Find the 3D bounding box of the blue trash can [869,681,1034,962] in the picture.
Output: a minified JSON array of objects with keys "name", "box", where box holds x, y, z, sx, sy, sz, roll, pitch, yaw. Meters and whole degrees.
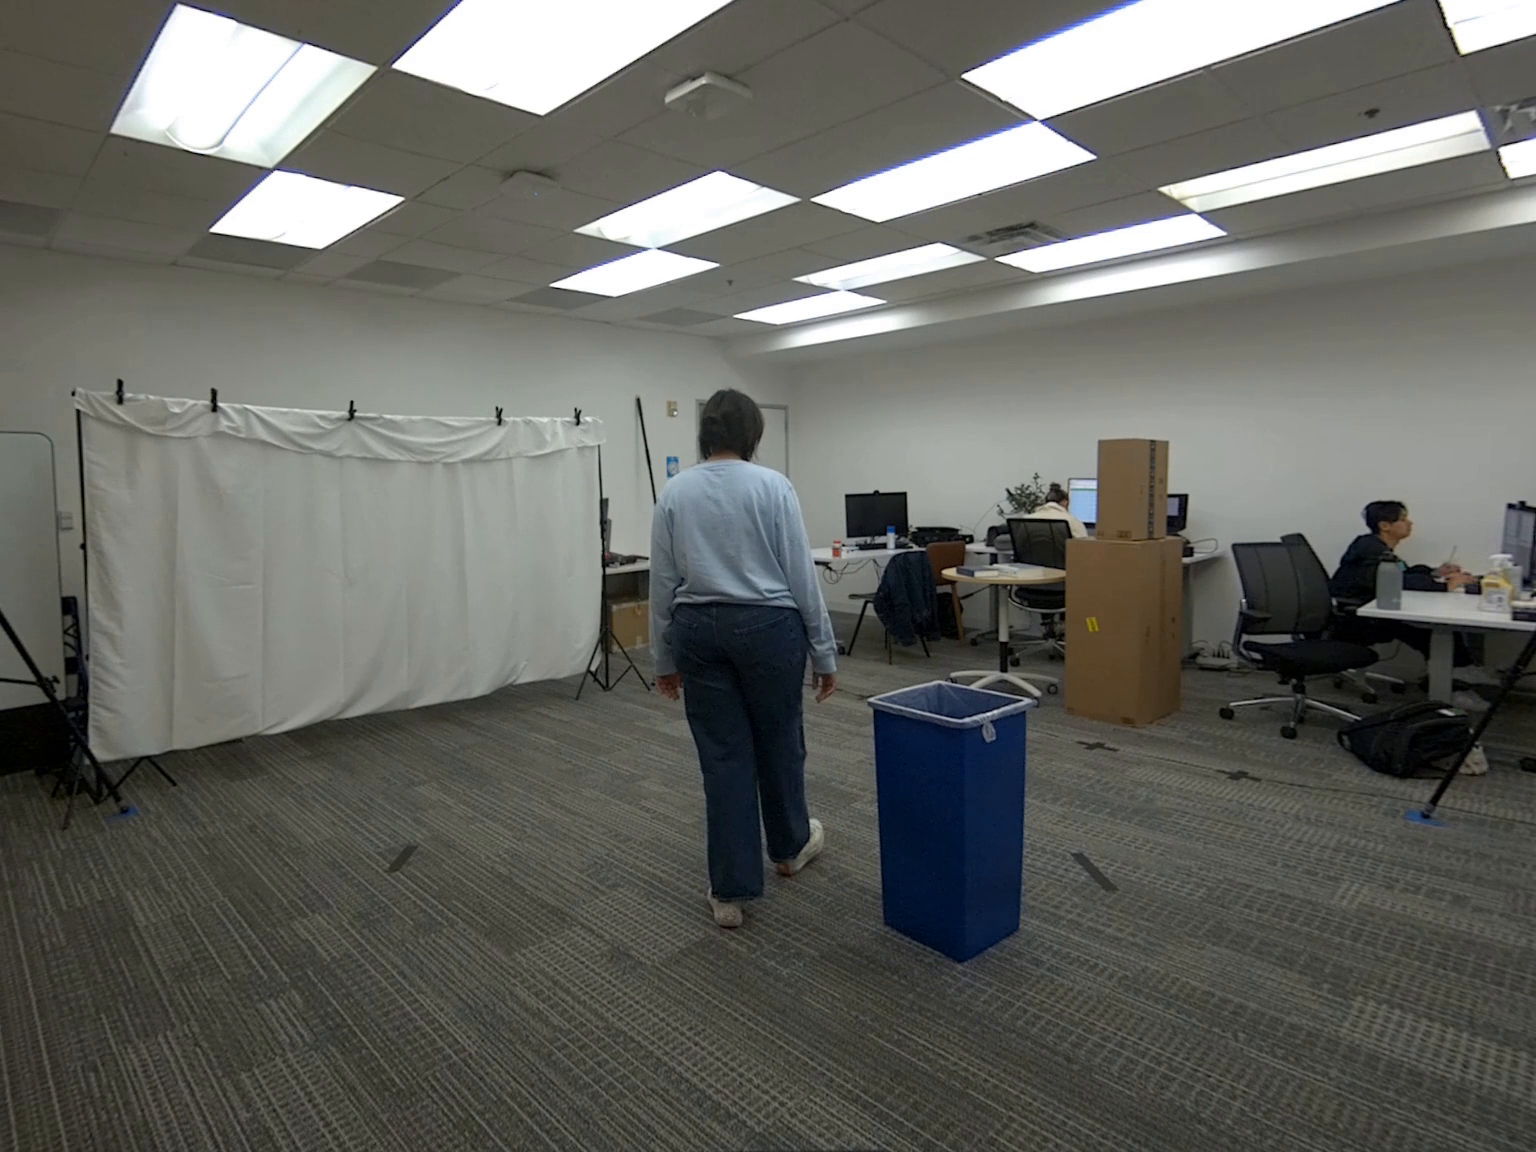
[{"name":"blue trash can","box":[0.566,0.730,2.638,0.364,0.711,0.389,-4,4,-41]}]
